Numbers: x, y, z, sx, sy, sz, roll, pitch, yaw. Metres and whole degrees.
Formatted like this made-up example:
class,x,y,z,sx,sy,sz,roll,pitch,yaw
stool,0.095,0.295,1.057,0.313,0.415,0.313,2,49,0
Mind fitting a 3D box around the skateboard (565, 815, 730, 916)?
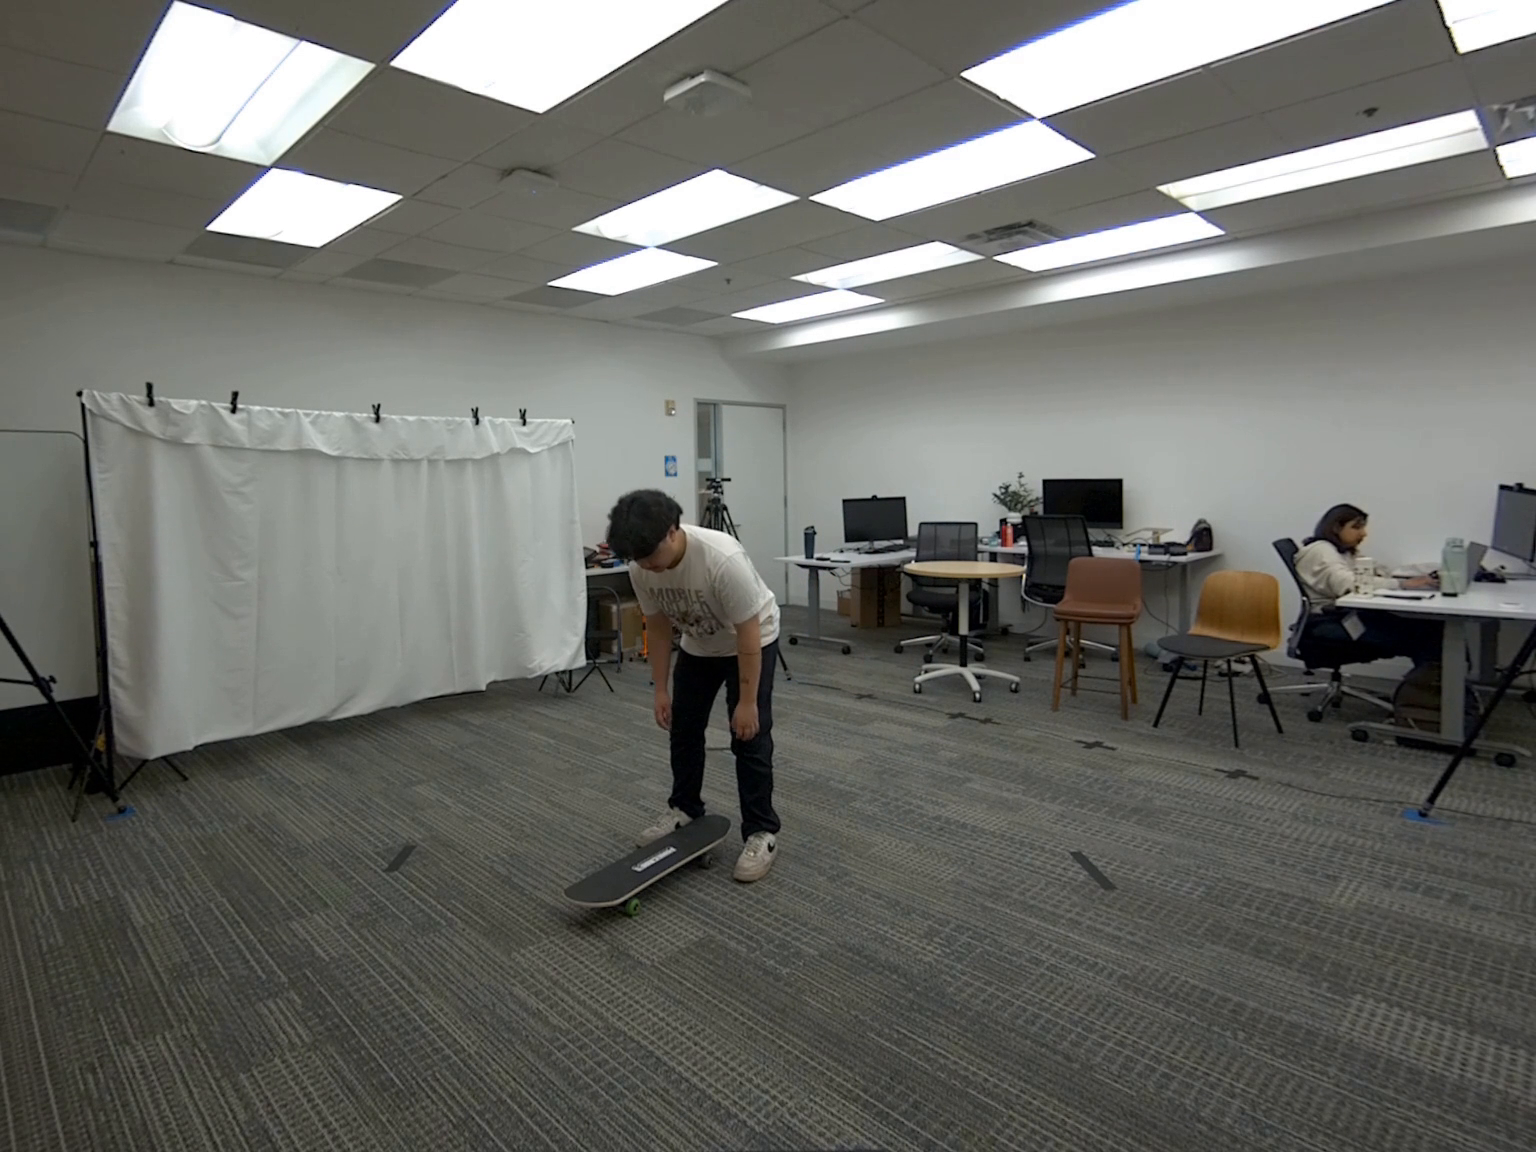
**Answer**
class,x,y,z,sx,sy,sz,roll,pitch,yaw
skateboard,-0.390,1.013,2.953,0.199,0.110,0.767,3,8,33
